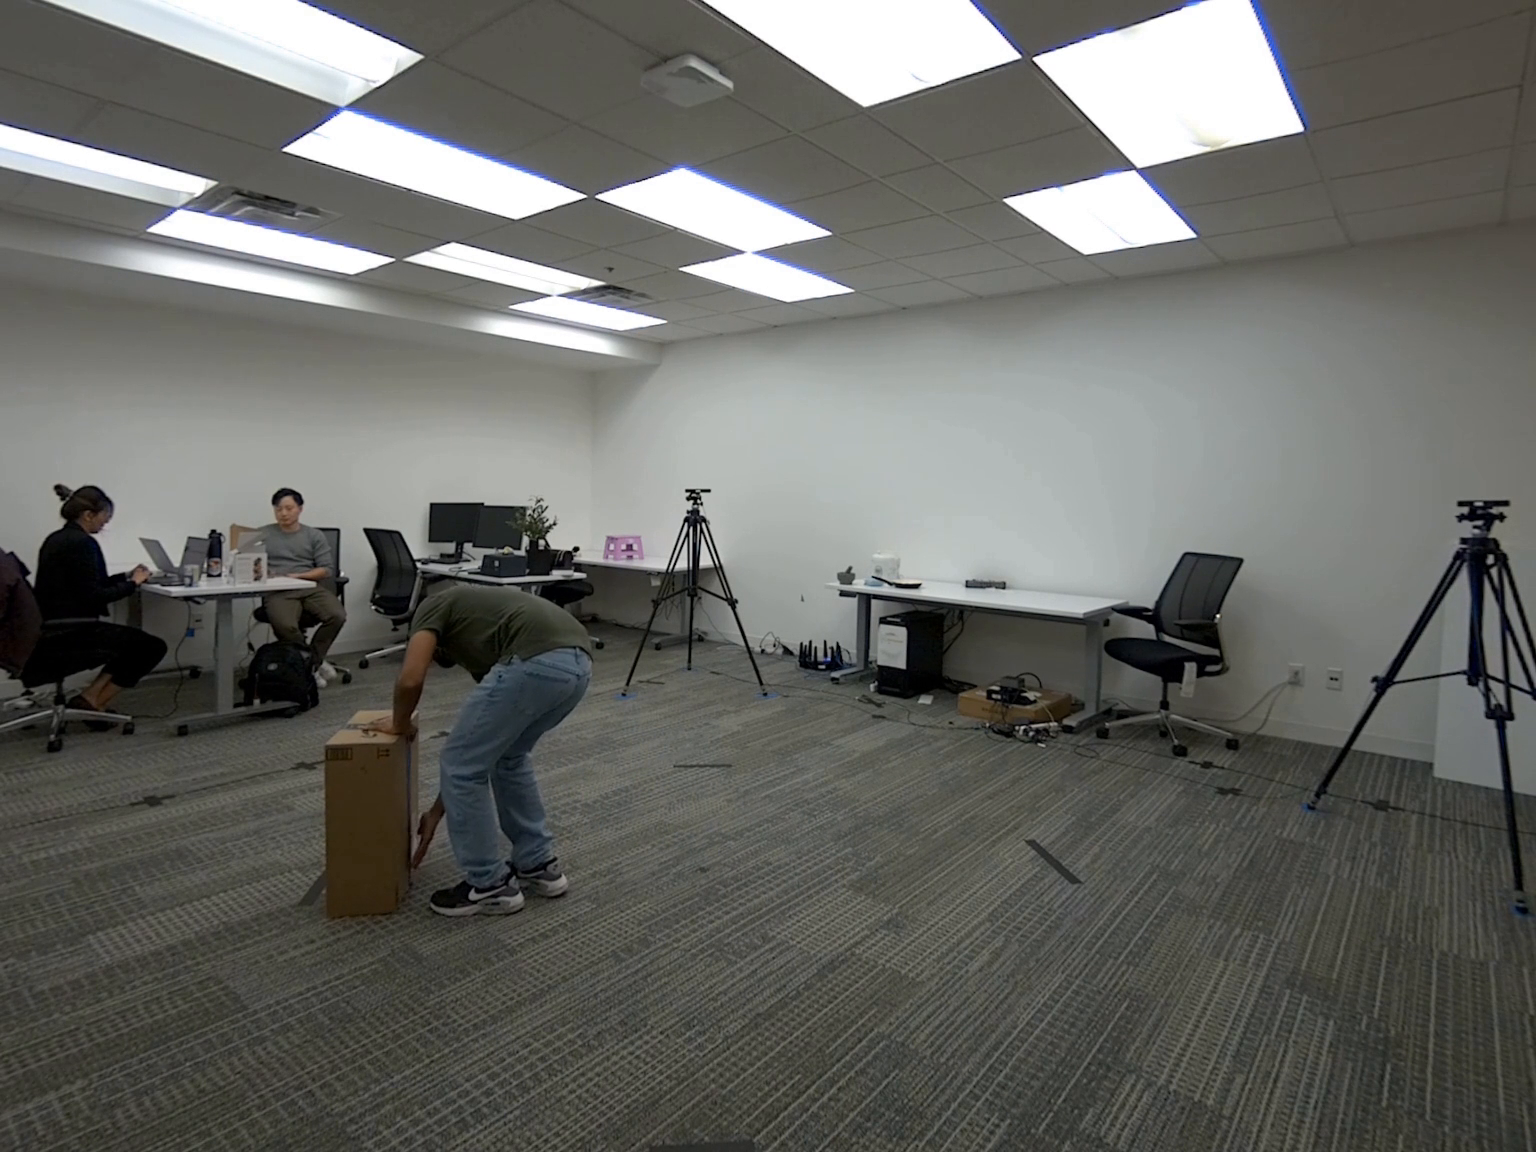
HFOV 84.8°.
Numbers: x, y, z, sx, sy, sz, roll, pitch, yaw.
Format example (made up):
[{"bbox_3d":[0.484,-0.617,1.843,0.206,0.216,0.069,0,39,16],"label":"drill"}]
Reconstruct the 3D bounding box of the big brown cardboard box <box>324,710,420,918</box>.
[{"bbox_3d":[-1.362,0.796,2.921,0.230,0.587,0.424,0,4,-11],"label":"big brown cardboard box"}]
